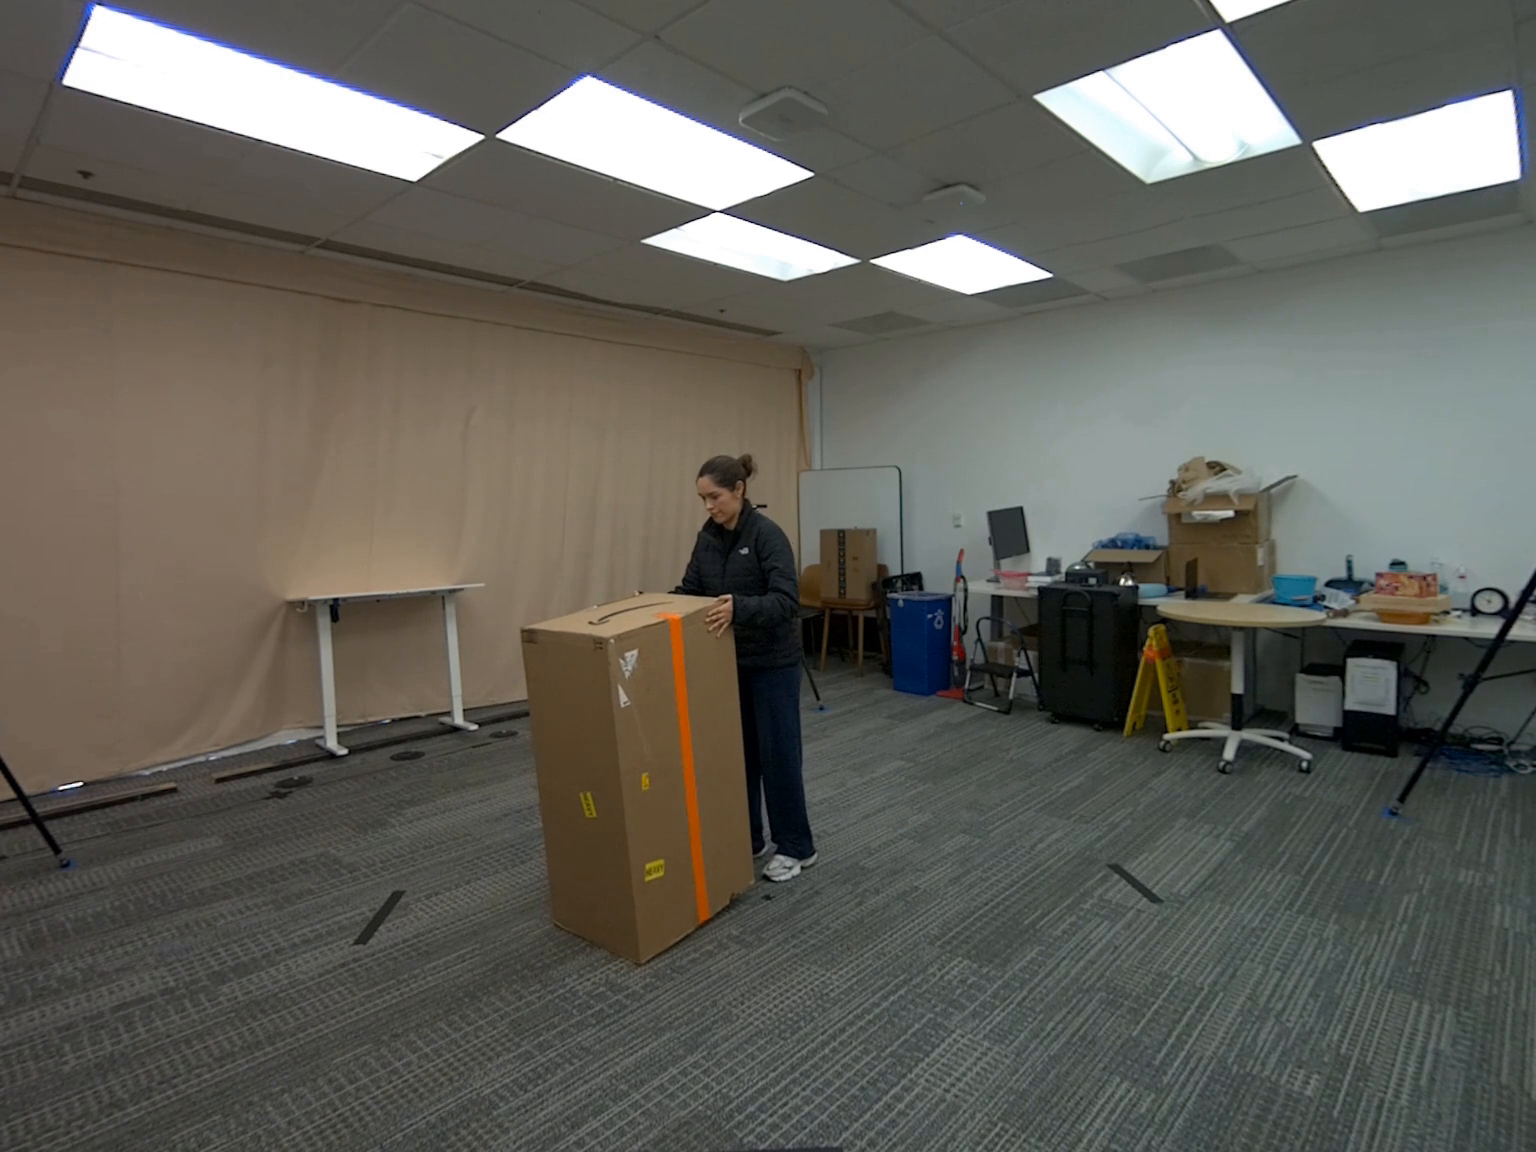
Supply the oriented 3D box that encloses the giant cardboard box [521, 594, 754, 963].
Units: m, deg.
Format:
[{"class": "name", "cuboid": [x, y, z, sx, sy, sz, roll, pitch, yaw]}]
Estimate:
[{"class": "giant cardboard box", "cuboid": [-0.411, 0.633, 2.835, 0.440, 1.020, 0.562, 1, 9, 39]}]
